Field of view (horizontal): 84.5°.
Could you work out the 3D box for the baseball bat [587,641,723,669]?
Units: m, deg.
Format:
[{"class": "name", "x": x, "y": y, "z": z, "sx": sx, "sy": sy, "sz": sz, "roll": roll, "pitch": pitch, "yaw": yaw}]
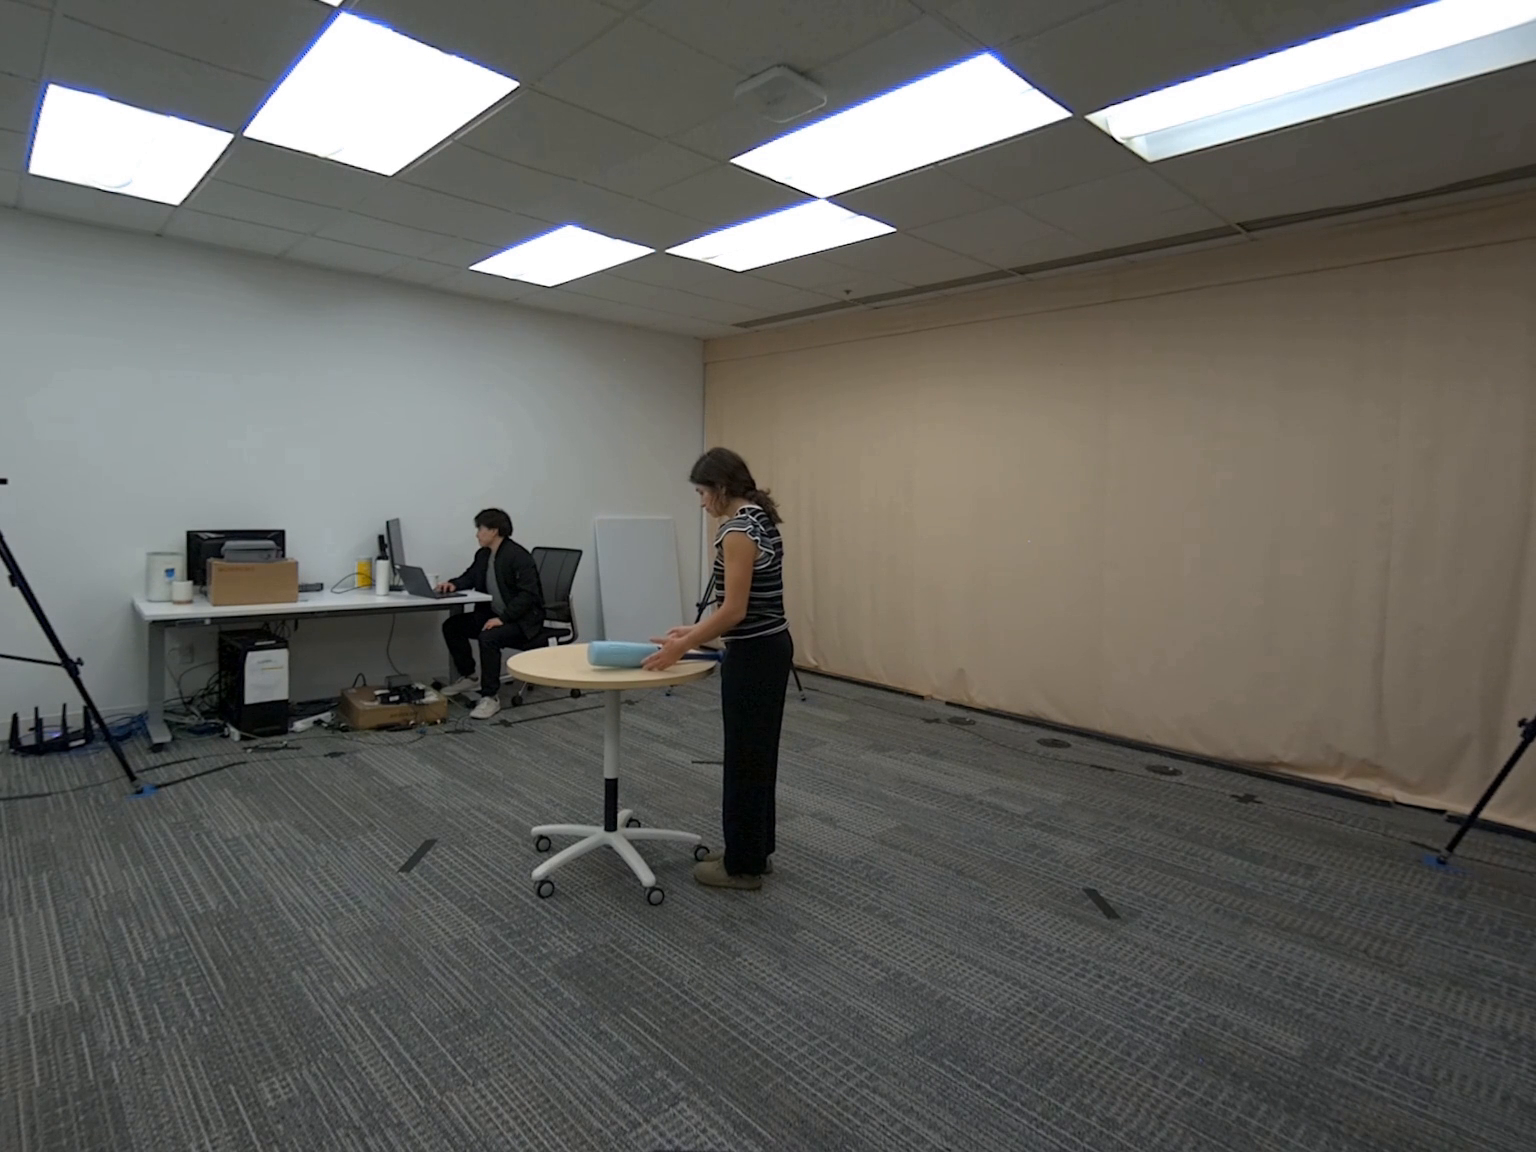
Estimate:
[{"class": "baseball bat", "x": -0.385, "y": 0.288, "z": 3.035, "sx": 0.532, "sy": 0.089, "sz": 0.091, "roll": 5, "pitch": 2, "yaw": -26}]
